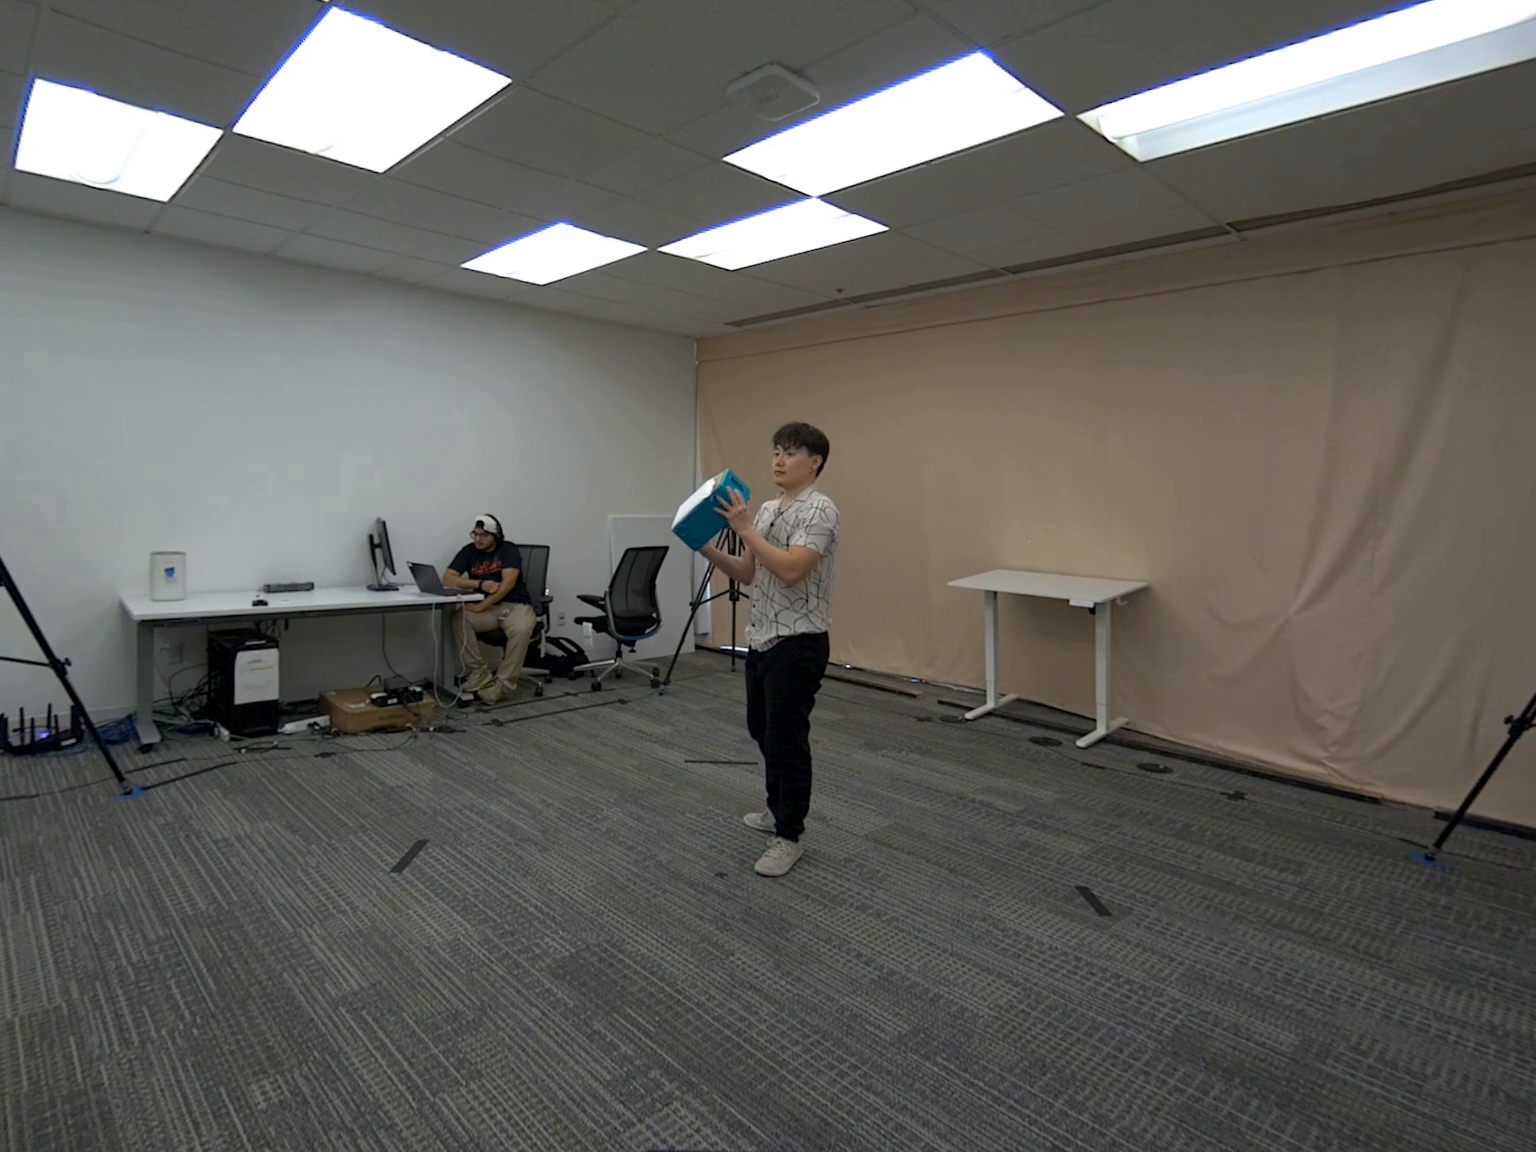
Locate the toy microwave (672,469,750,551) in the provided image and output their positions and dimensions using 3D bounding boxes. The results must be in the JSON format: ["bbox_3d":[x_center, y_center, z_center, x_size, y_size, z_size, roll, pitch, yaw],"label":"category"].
[{"bbox_3d":[-0.221,-0.246,3.129,0.287,0.150,0.186,-40,18,28],"label":"toy microwave"}]
